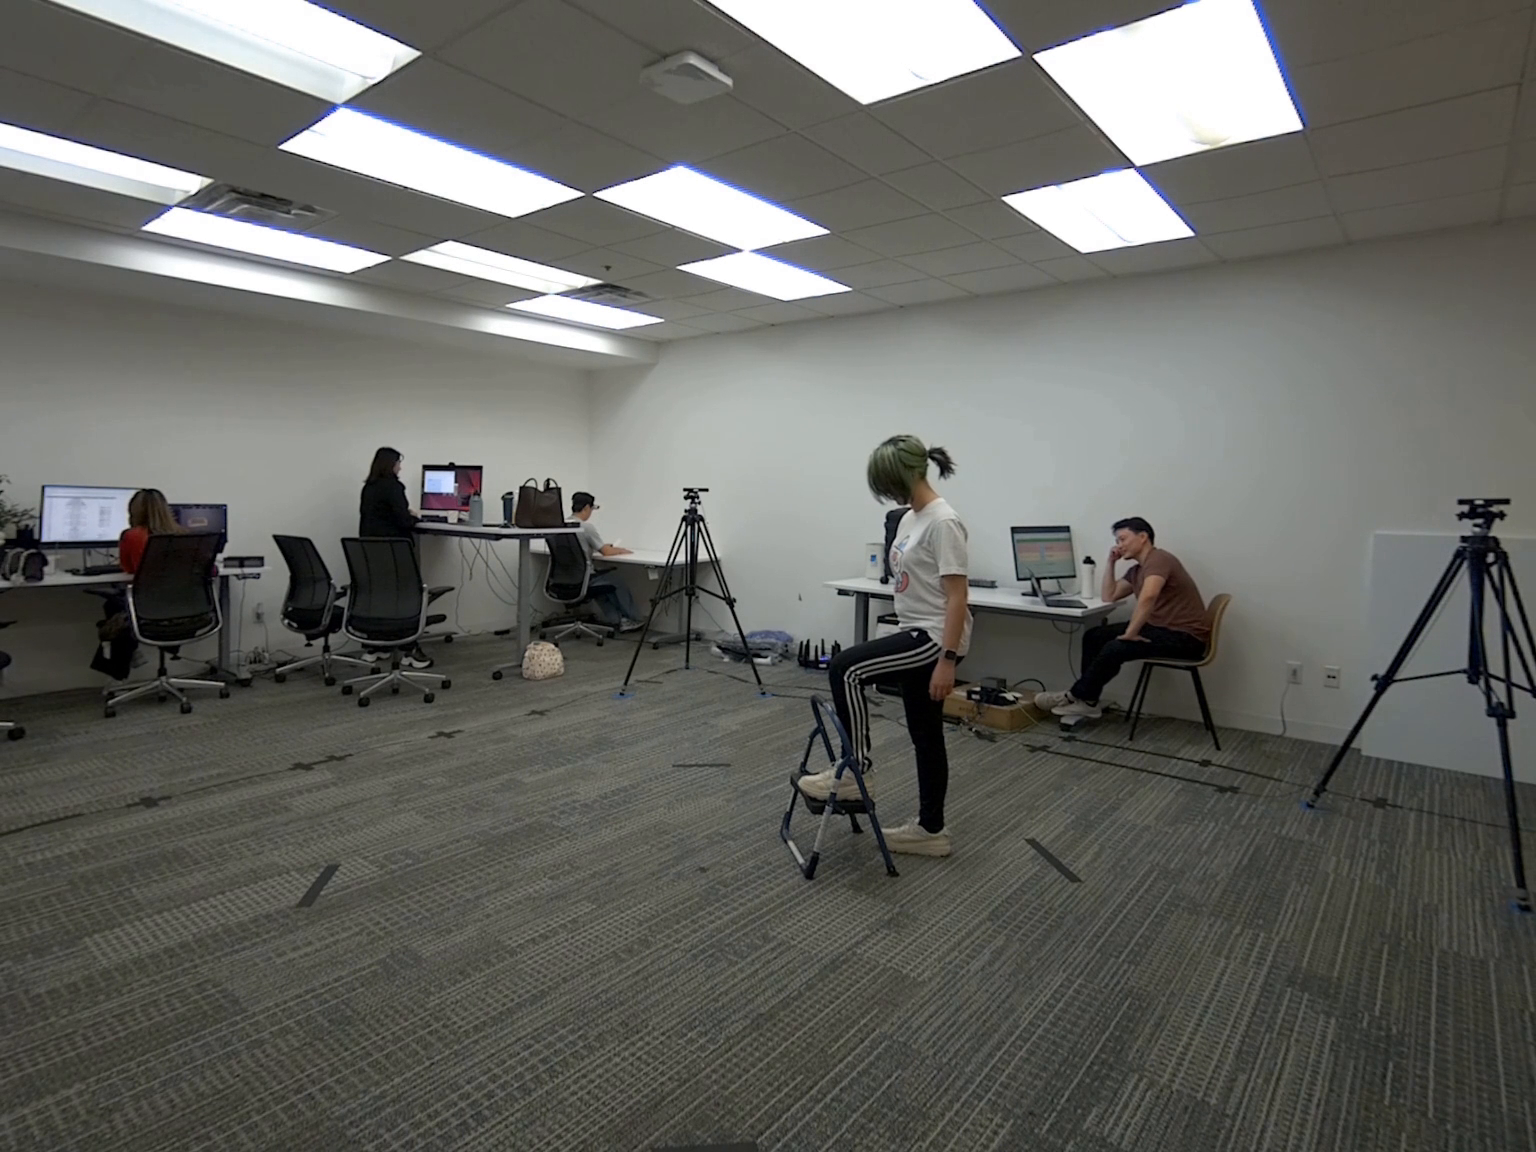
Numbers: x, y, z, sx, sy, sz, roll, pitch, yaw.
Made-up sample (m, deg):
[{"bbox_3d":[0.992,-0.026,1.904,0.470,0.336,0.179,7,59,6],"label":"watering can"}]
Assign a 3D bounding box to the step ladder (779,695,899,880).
[{"bbox_3d":[0.261,0.769,3.257,0.345,0.604,0.437,1,4,-12],"label":"step ladder"}]
